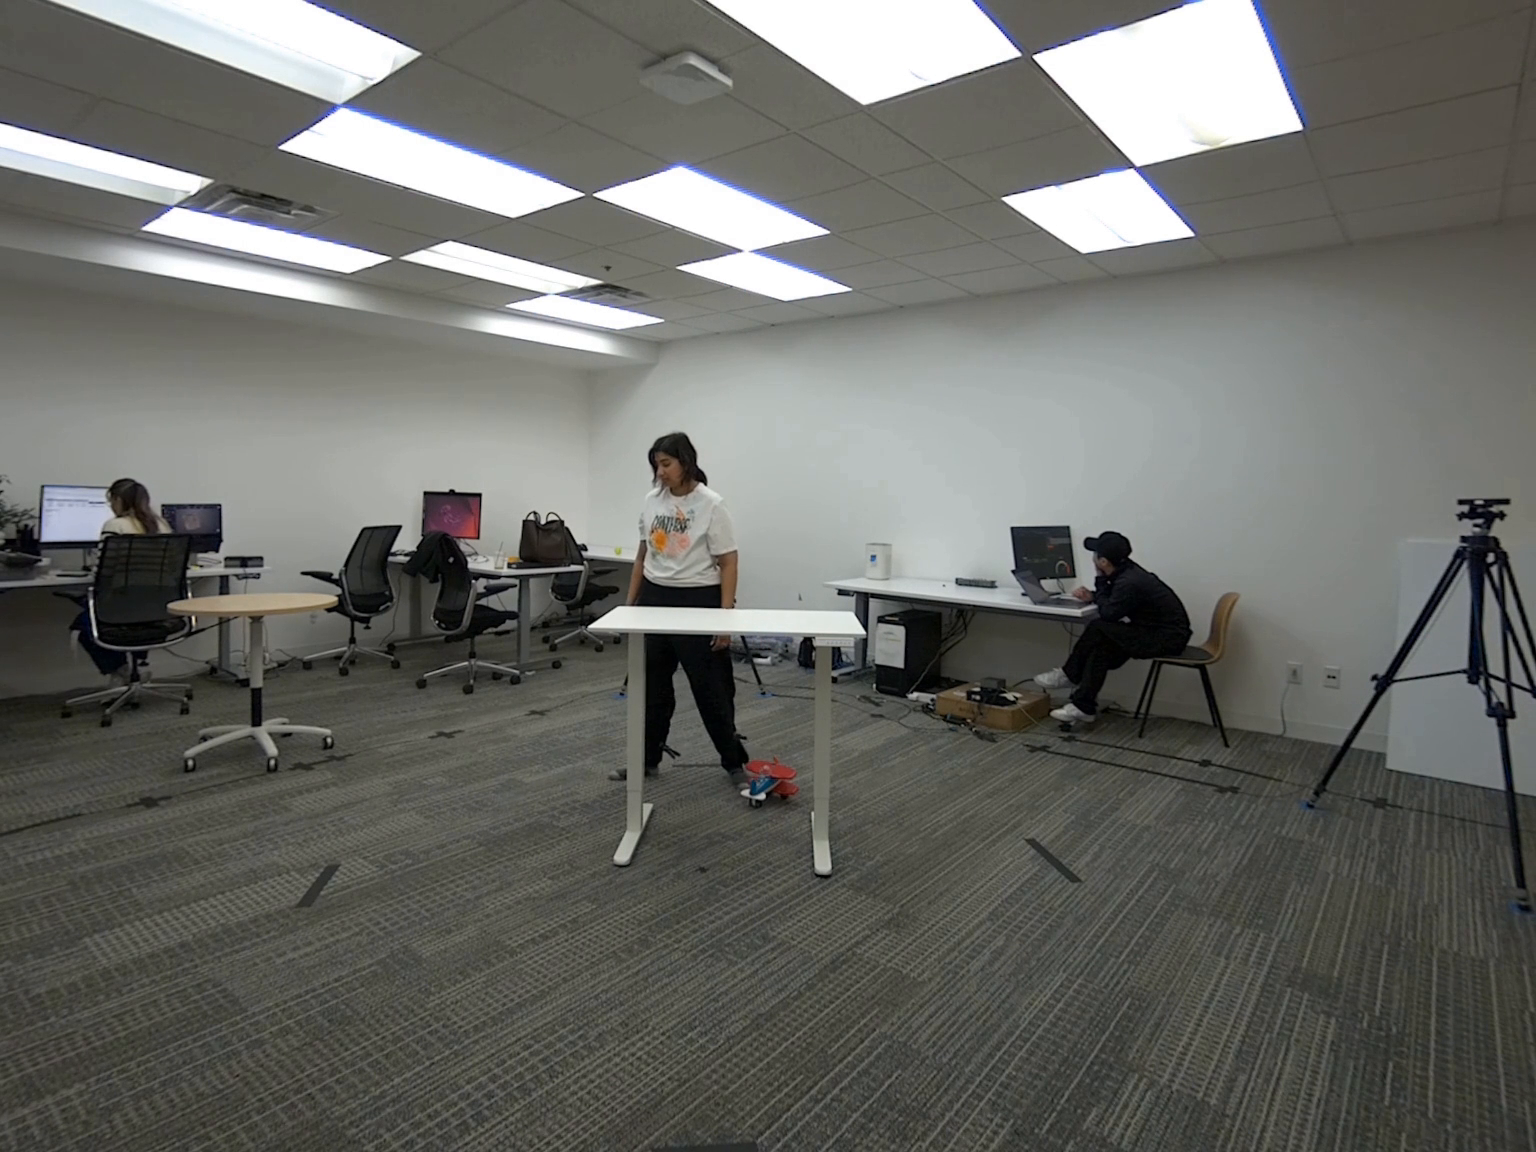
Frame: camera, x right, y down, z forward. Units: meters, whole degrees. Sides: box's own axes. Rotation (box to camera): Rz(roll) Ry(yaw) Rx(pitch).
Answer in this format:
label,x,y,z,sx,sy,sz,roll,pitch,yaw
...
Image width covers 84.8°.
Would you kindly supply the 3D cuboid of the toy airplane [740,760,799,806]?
label,x,y,z,sx,sy,sz,roll,pitch,yaw
toy airplane,0.002,0.933,3.806,0.253,0.156,0.257,2,3,7
